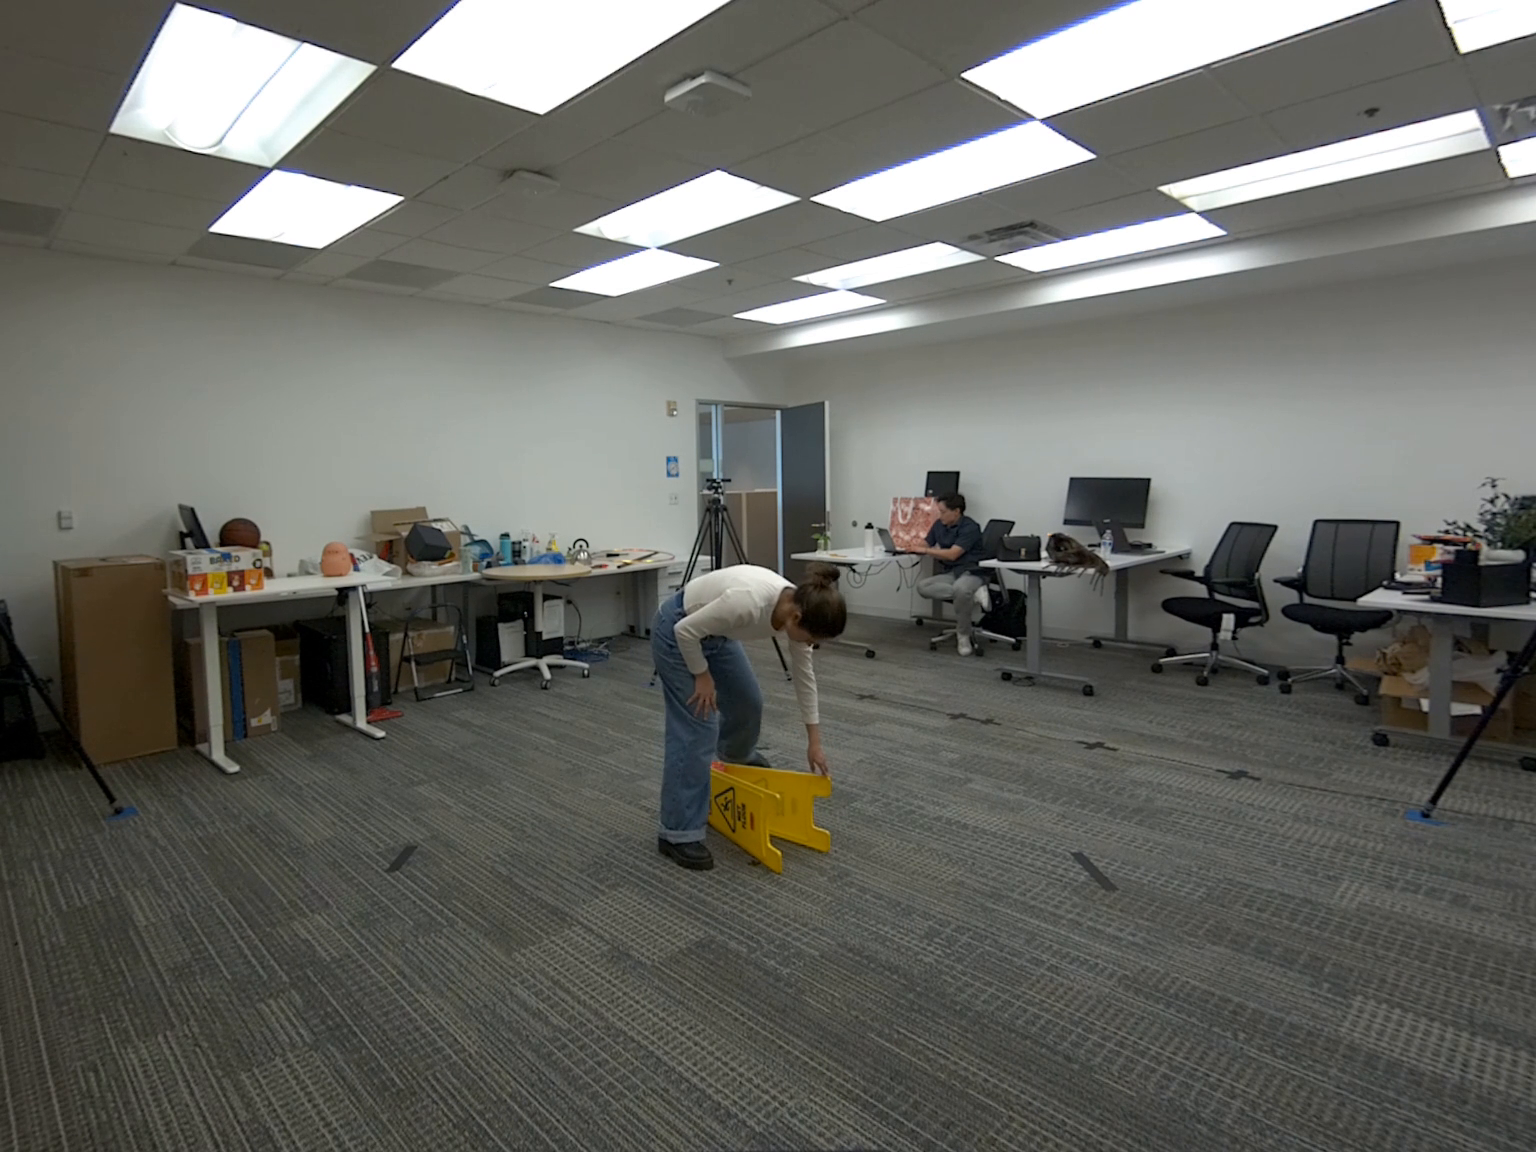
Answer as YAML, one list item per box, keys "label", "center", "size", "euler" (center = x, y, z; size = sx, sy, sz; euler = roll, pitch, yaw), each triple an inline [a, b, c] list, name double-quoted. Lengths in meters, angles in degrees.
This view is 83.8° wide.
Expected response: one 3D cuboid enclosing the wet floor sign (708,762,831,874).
- label: "wet floor sign"
  center: [-0.094, 0.888, 3.337]
  size: [0.281, 0.282, 0.665]
  euler: [-2, 3, -44]
